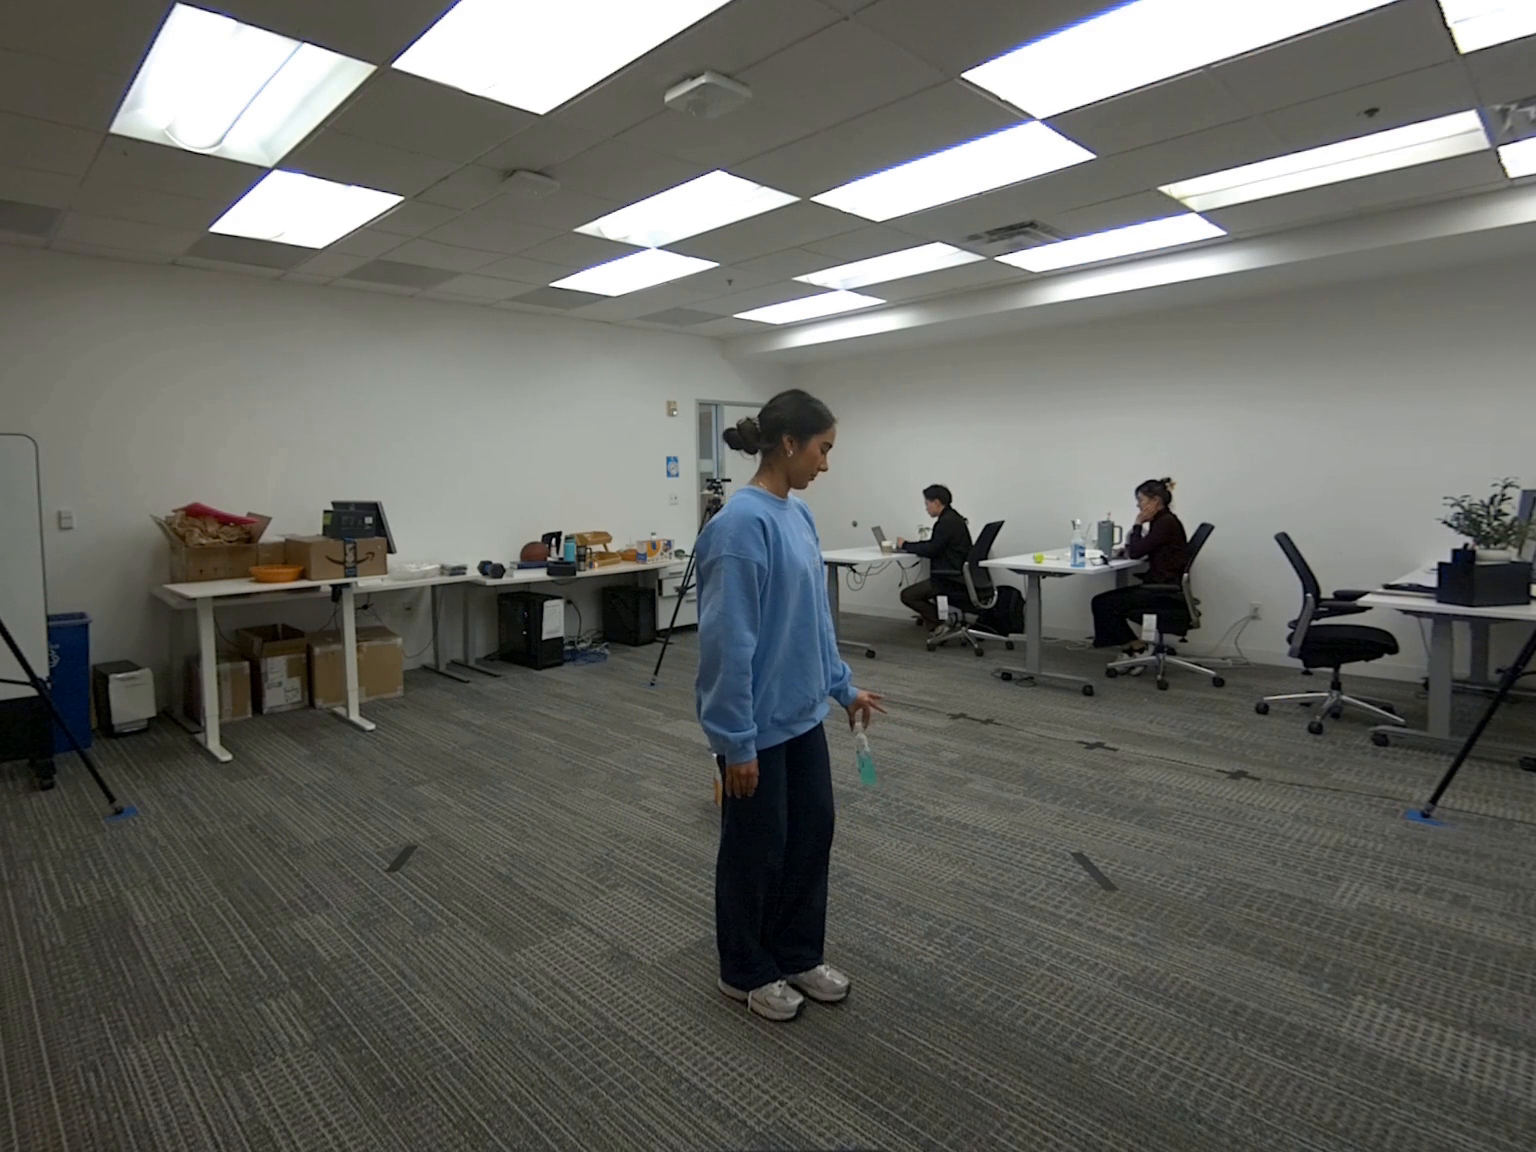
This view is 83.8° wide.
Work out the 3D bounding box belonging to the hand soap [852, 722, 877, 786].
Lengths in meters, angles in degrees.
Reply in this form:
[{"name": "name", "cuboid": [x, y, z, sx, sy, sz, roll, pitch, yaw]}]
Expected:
[{"name": "hand soap", "cuboid": [0.268, 0.496, 2.421, 0.043, 0.167, 0.085, -9, 6, -7]}]
